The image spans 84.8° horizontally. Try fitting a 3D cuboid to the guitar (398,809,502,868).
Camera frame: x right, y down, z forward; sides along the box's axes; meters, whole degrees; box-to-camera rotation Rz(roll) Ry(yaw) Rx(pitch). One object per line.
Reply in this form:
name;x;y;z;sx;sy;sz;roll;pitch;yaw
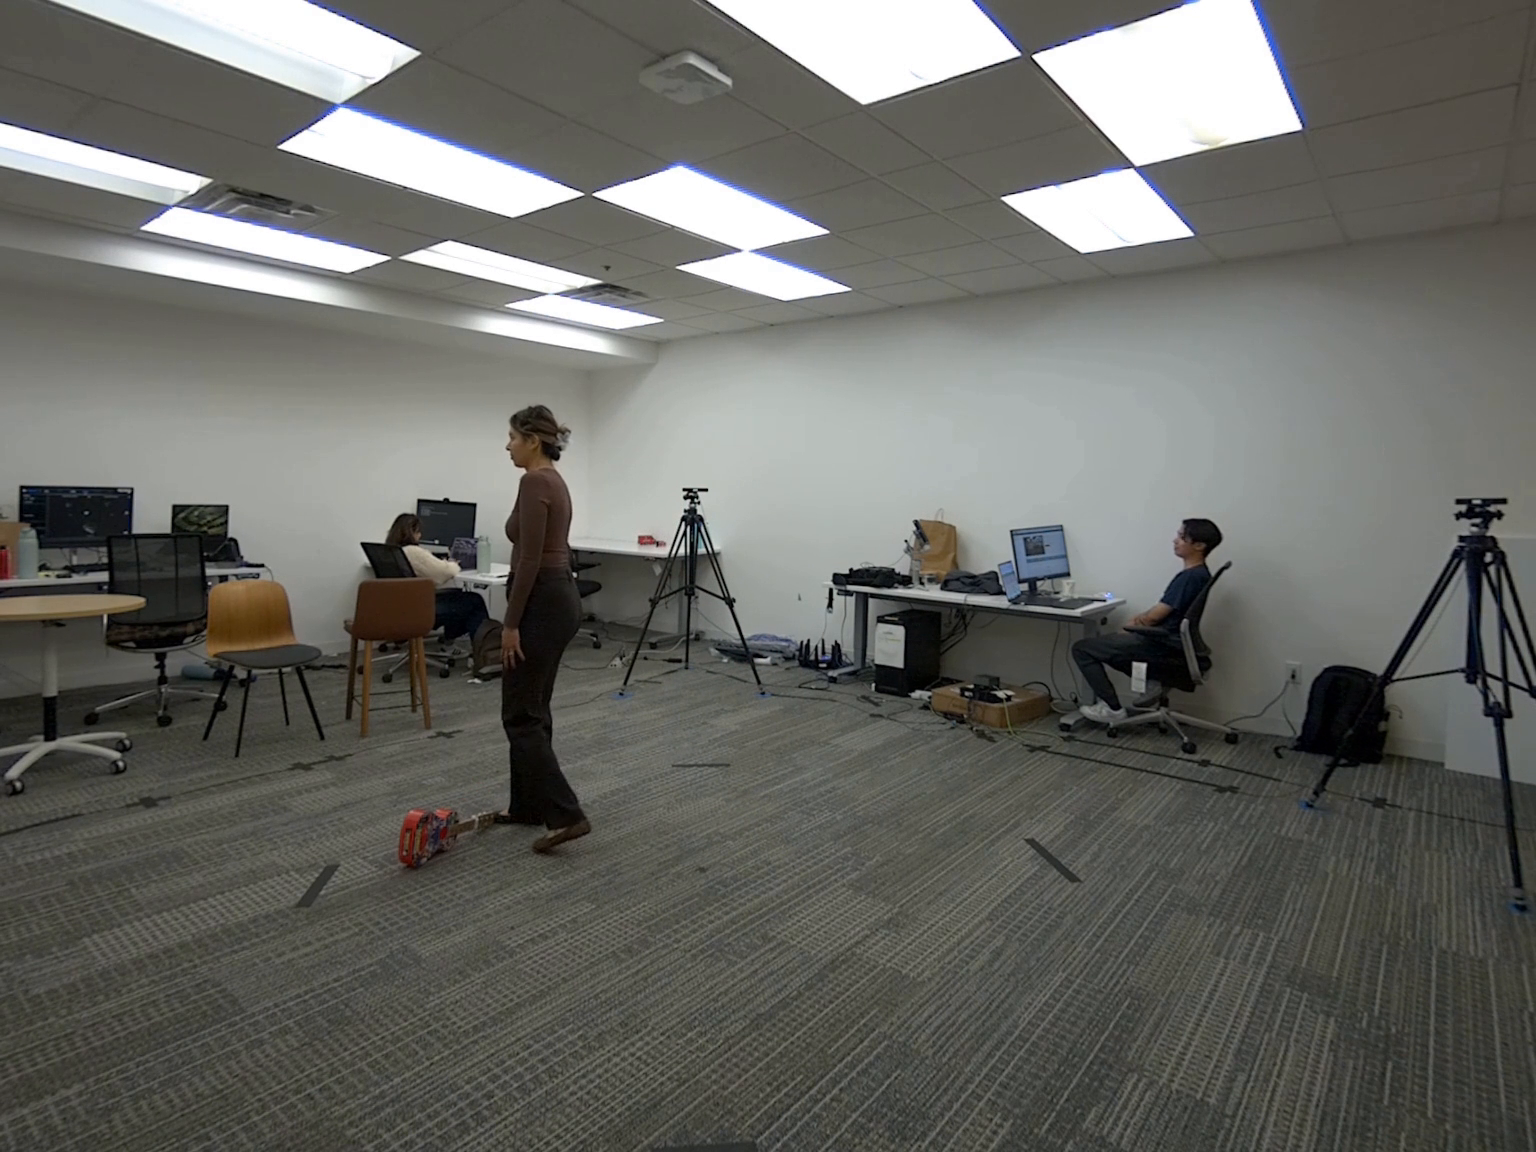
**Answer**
guitar;-1.239;1.000;3.269;0.072;0.195;0.482;3;-14;18
